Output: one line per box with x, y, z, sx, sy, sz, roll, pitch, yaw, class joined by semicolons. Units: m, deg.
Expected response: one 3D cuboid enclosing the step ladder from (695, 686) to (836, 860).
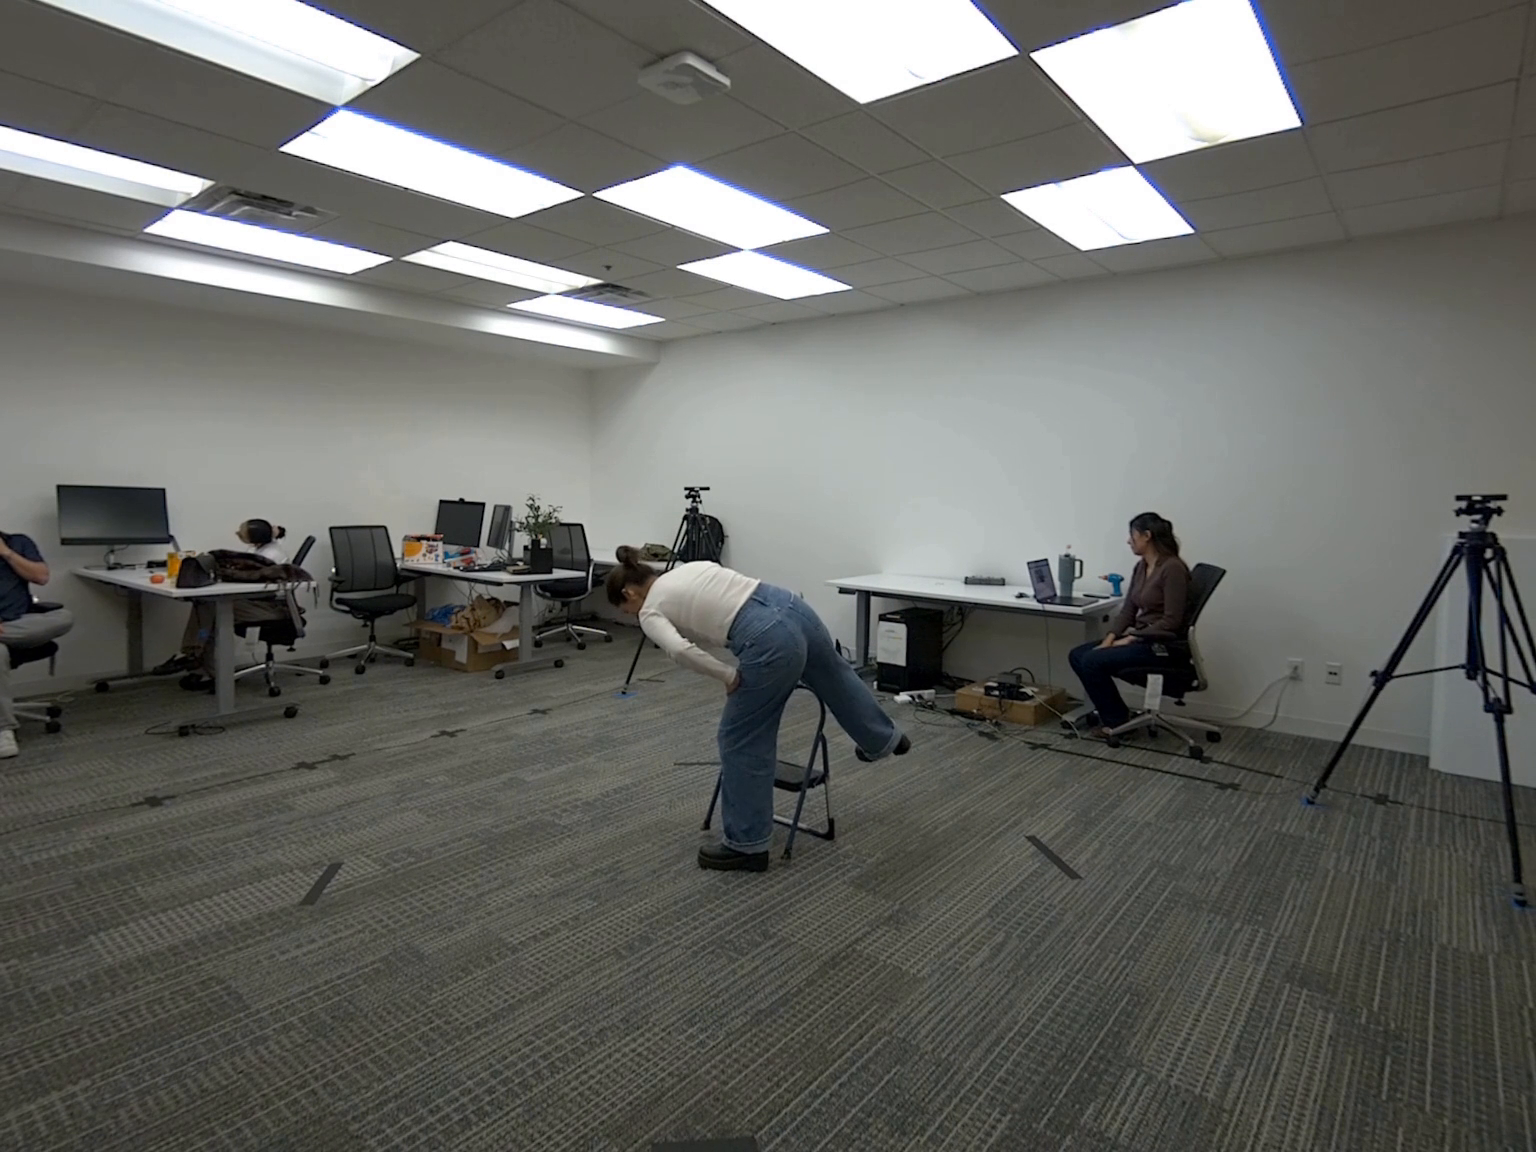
0.019;0.729;3.396;0.445;0.606;0.338;5;1;38;step ladder
